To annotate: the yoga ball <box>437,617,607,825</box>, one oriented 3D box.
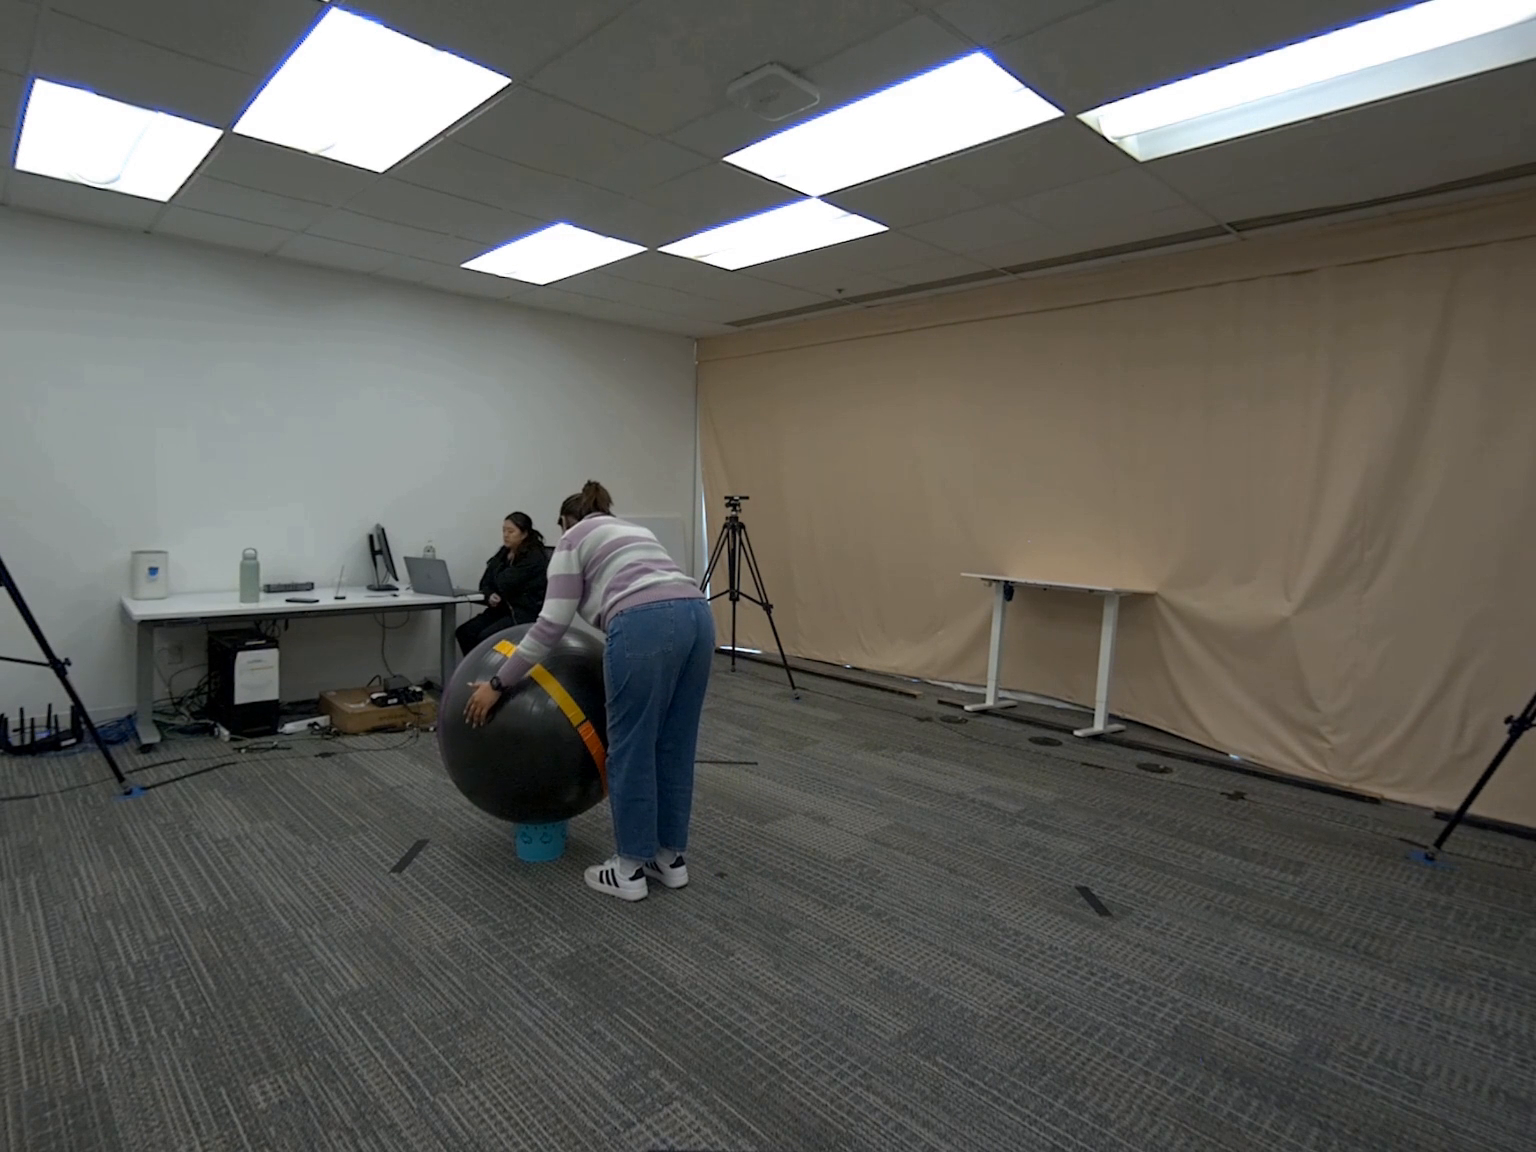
[{"bbox_3d":[-0.890,0.563,3.251,0.757,0.756,0.761,1,4,-1],"label":"yoga ball"}]
